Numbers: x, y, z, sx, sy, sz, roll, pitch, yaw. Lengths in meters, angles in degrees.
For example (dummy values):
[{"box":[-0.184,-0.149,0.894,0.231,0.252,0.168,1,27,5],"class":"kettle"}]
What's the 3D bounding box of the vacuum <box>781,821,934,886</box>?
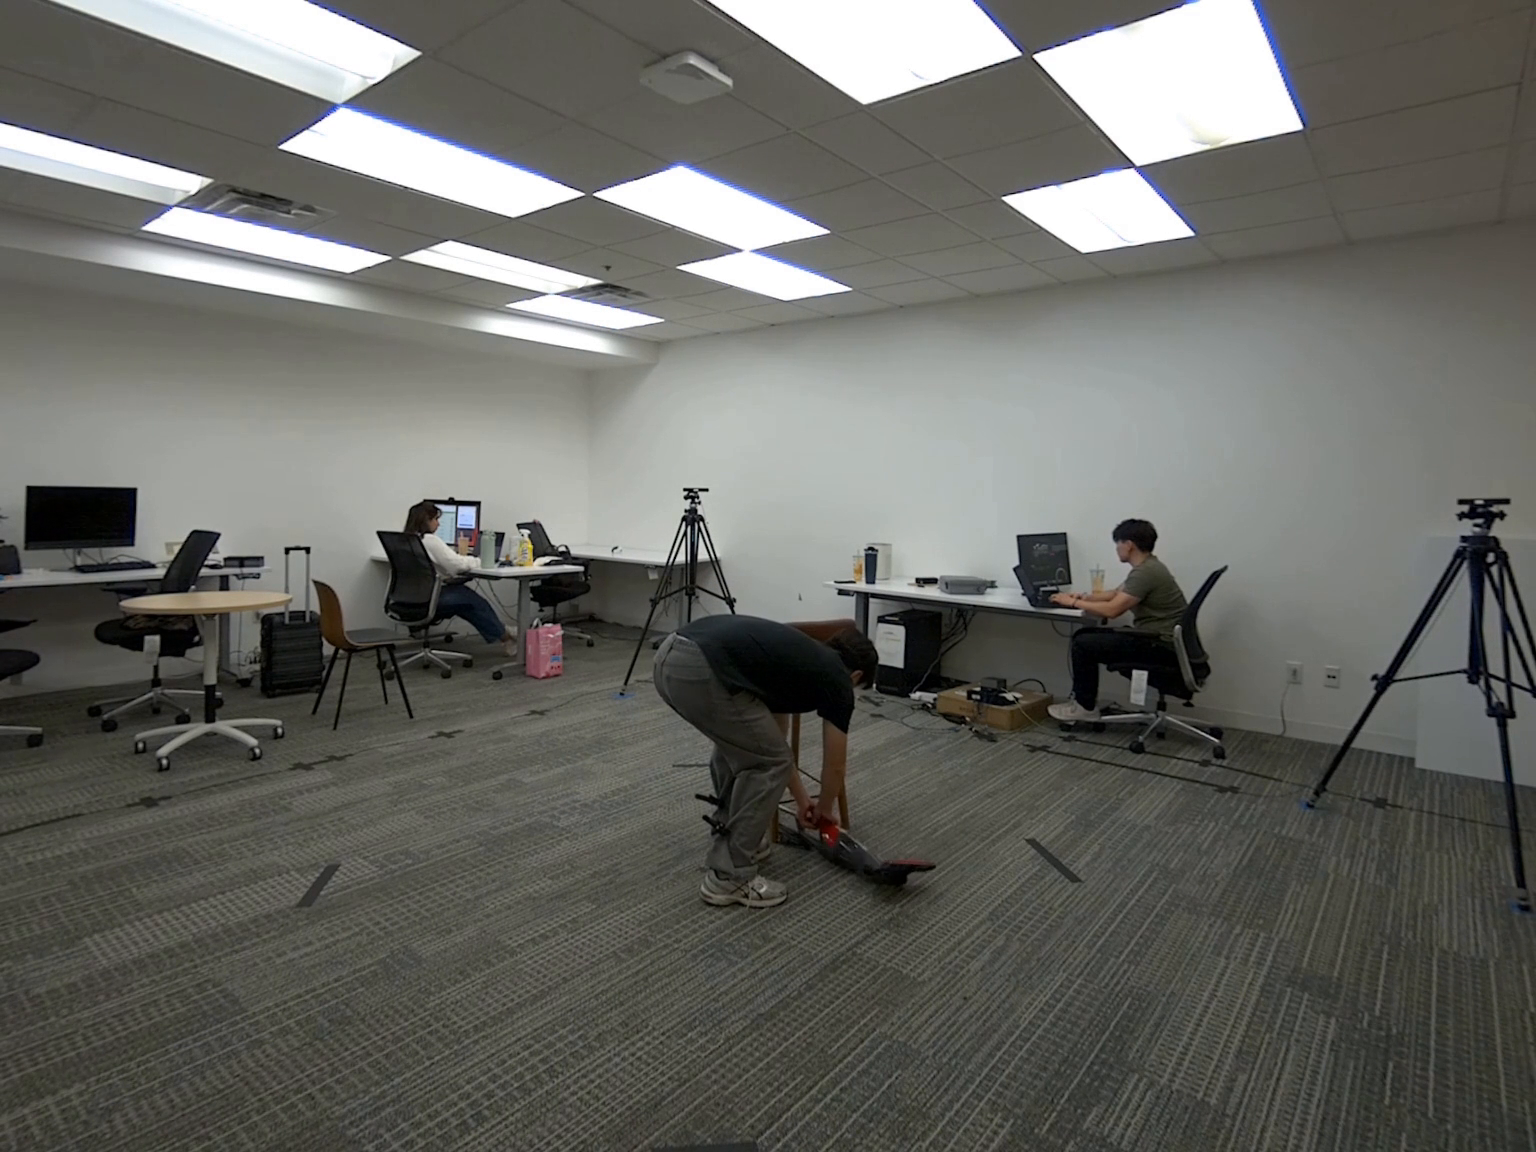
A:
[{"box":[0.133,1.000,3.363,0.244,0.144,1.083,8,-2,-37],"class":"vacuum"}]
